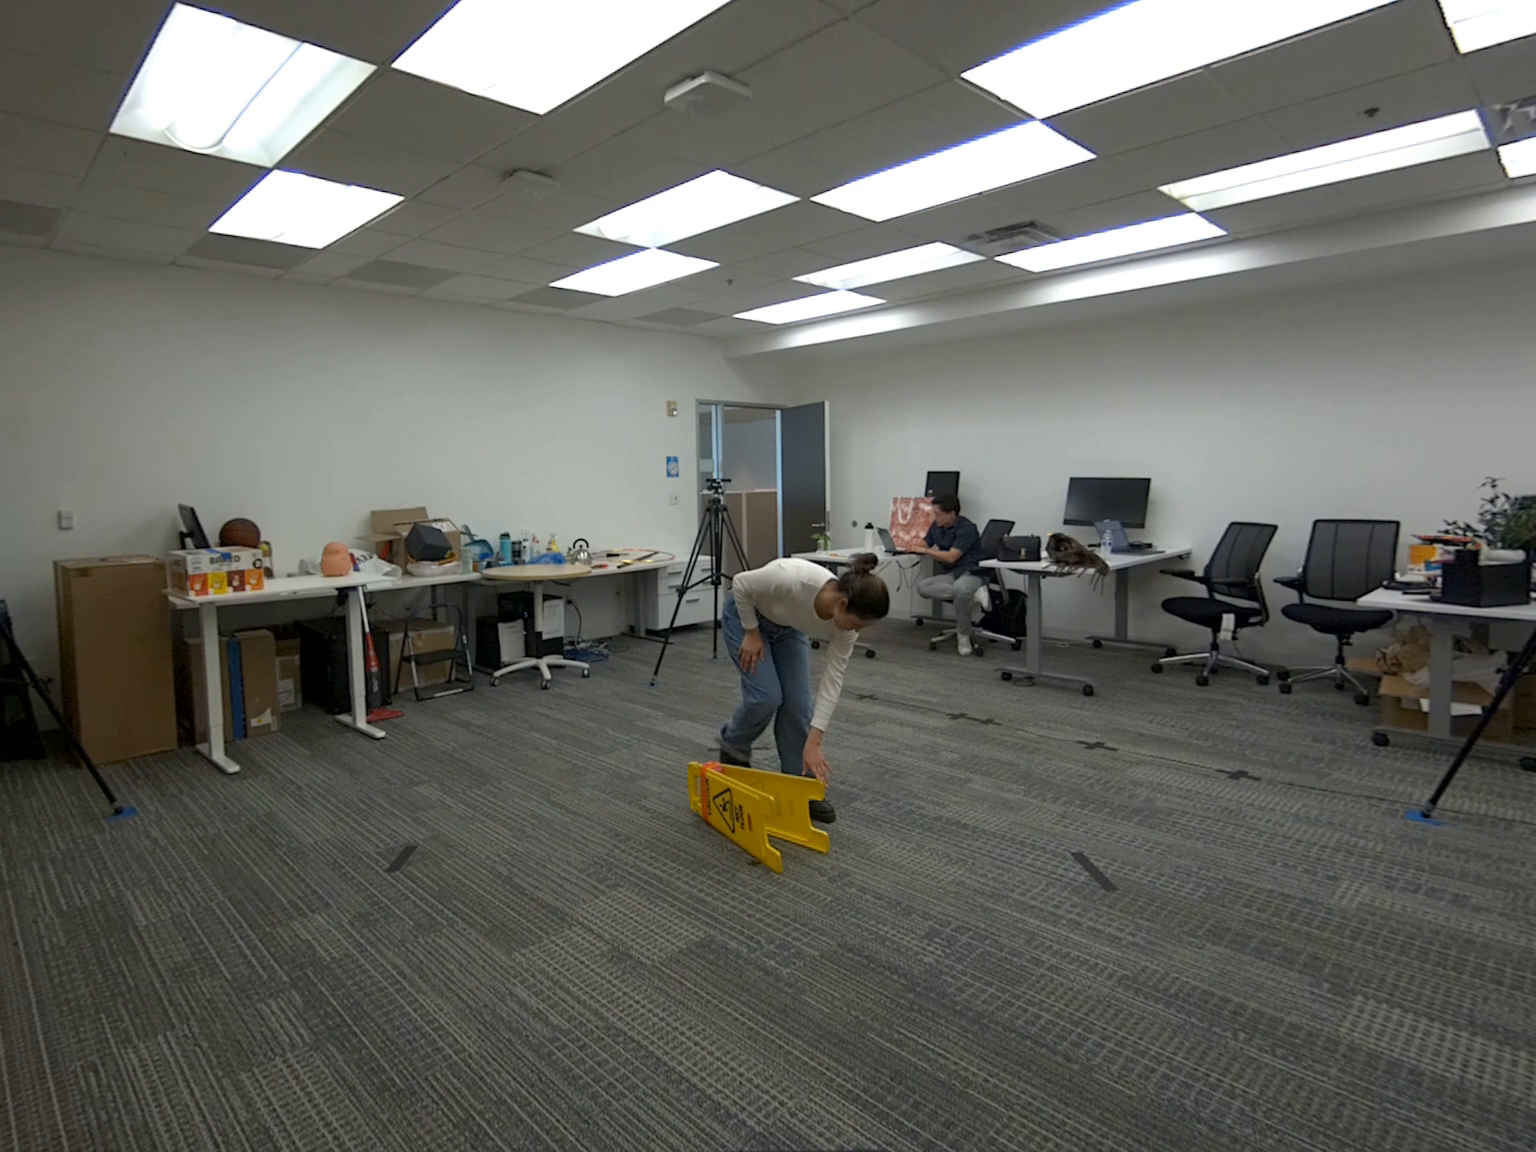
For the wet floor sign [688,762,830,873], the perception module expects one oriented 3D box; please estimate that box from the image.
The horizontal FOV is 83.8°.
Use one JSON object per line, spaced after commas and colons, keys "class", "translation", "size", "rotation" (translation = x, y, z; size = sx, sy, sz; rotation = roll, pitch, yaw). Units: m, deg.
{"class": "wet floor sign", "translation": [-0.102, 0.892, 3.331], "size": [0.282, 0.281, 0.666], "rotation": [-7, 7, -42]}
